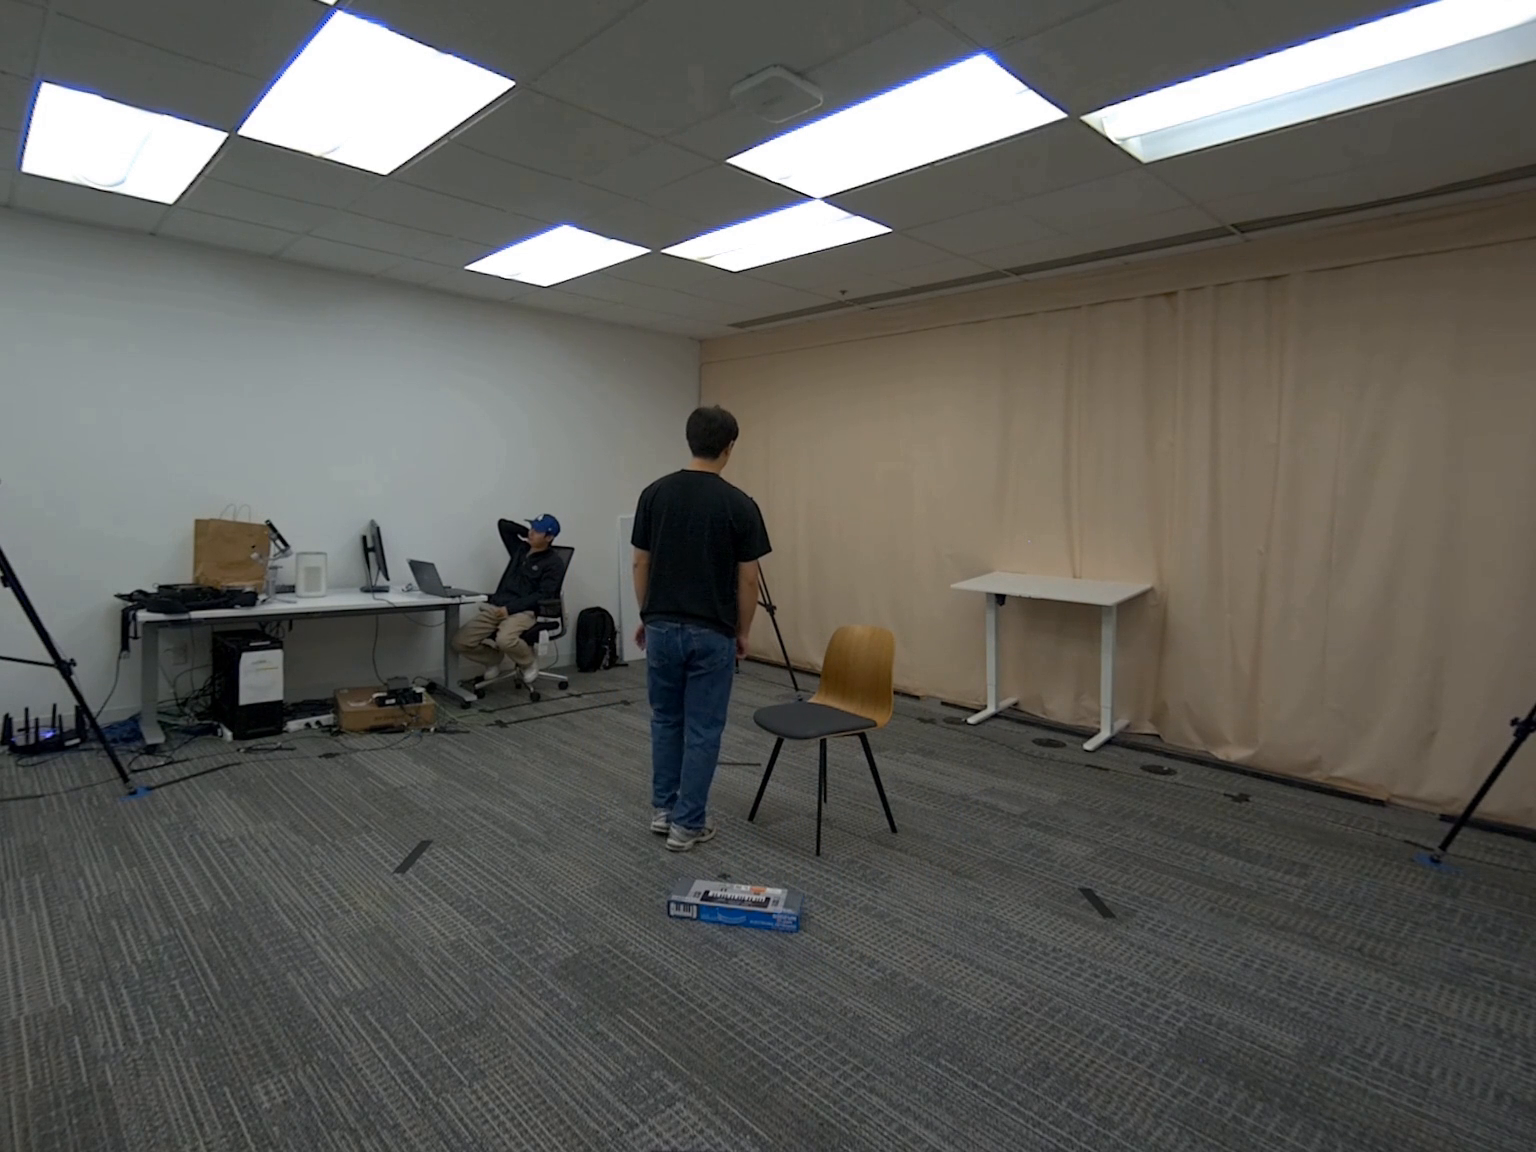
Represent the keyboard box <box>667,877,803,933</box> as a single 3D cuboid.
[{"bbox_3d":[-0.111,1.109,2.823,0.441,0.059,0.175,2,5,11],"label":"keyboard box"}]
